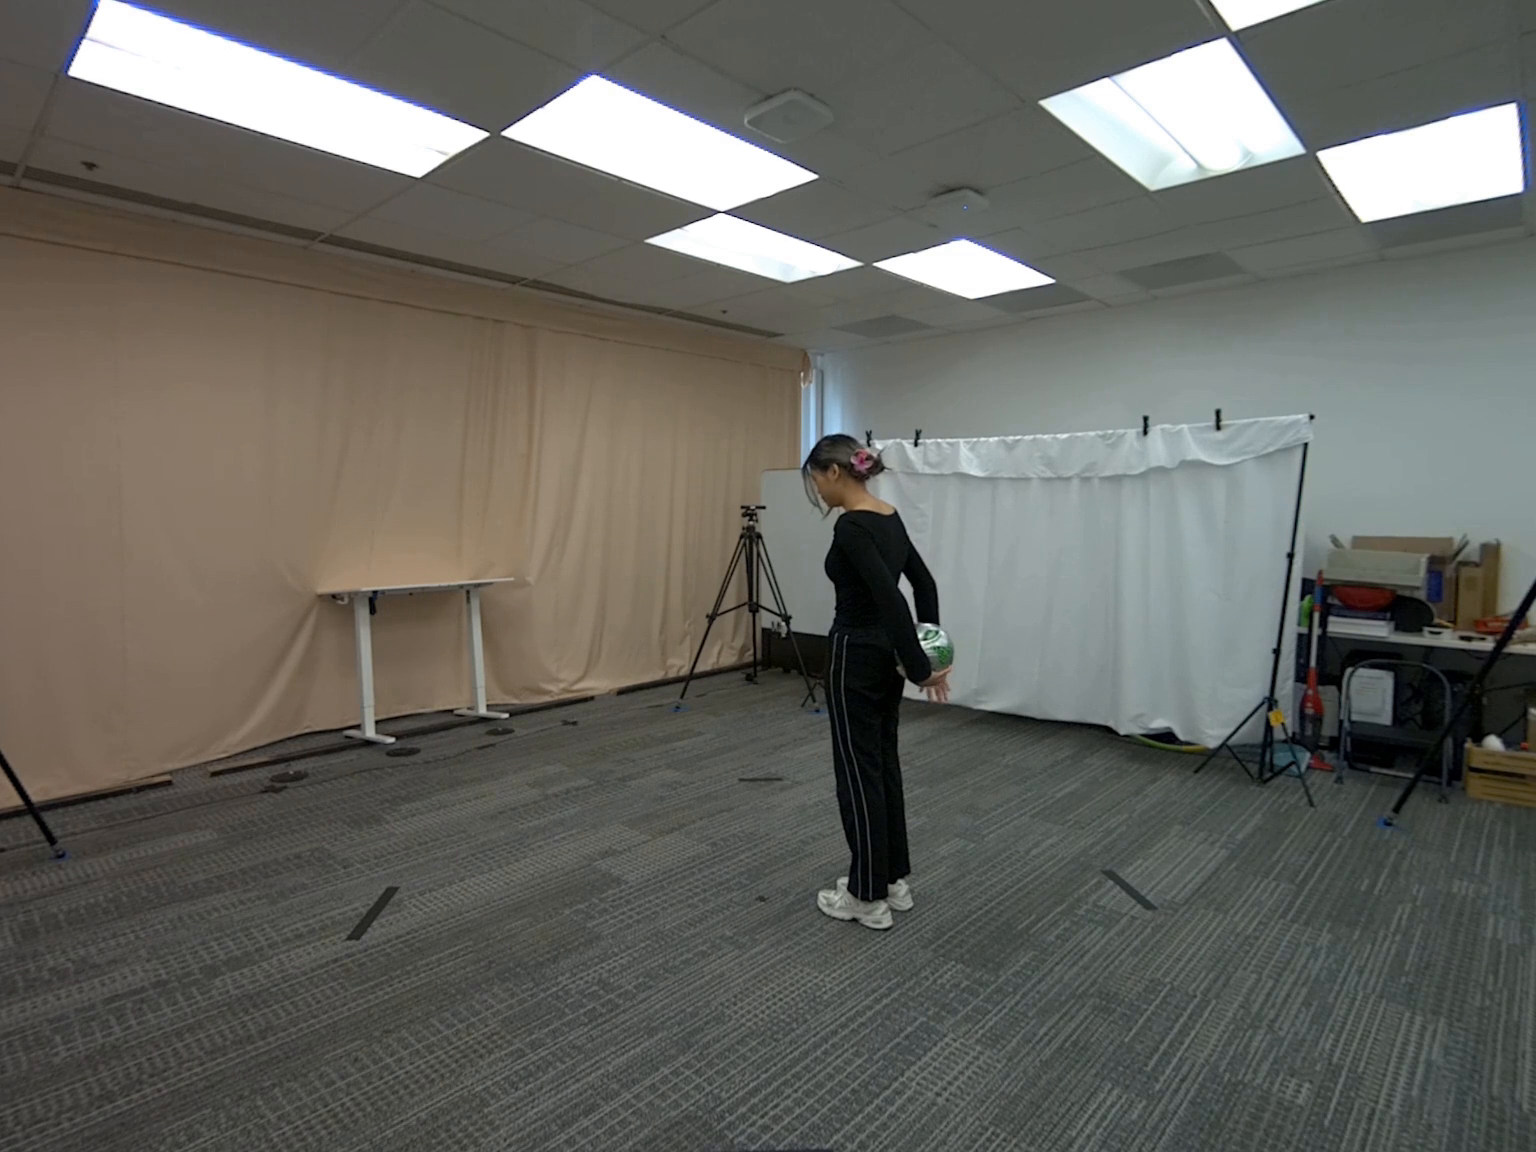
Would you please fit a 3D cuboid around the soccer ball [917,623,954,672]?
[{"bbox_3d":[0.496,0.247,2.688,0.187,0.187,0.188,0,4,-2],"label":"soccer ball"}]
